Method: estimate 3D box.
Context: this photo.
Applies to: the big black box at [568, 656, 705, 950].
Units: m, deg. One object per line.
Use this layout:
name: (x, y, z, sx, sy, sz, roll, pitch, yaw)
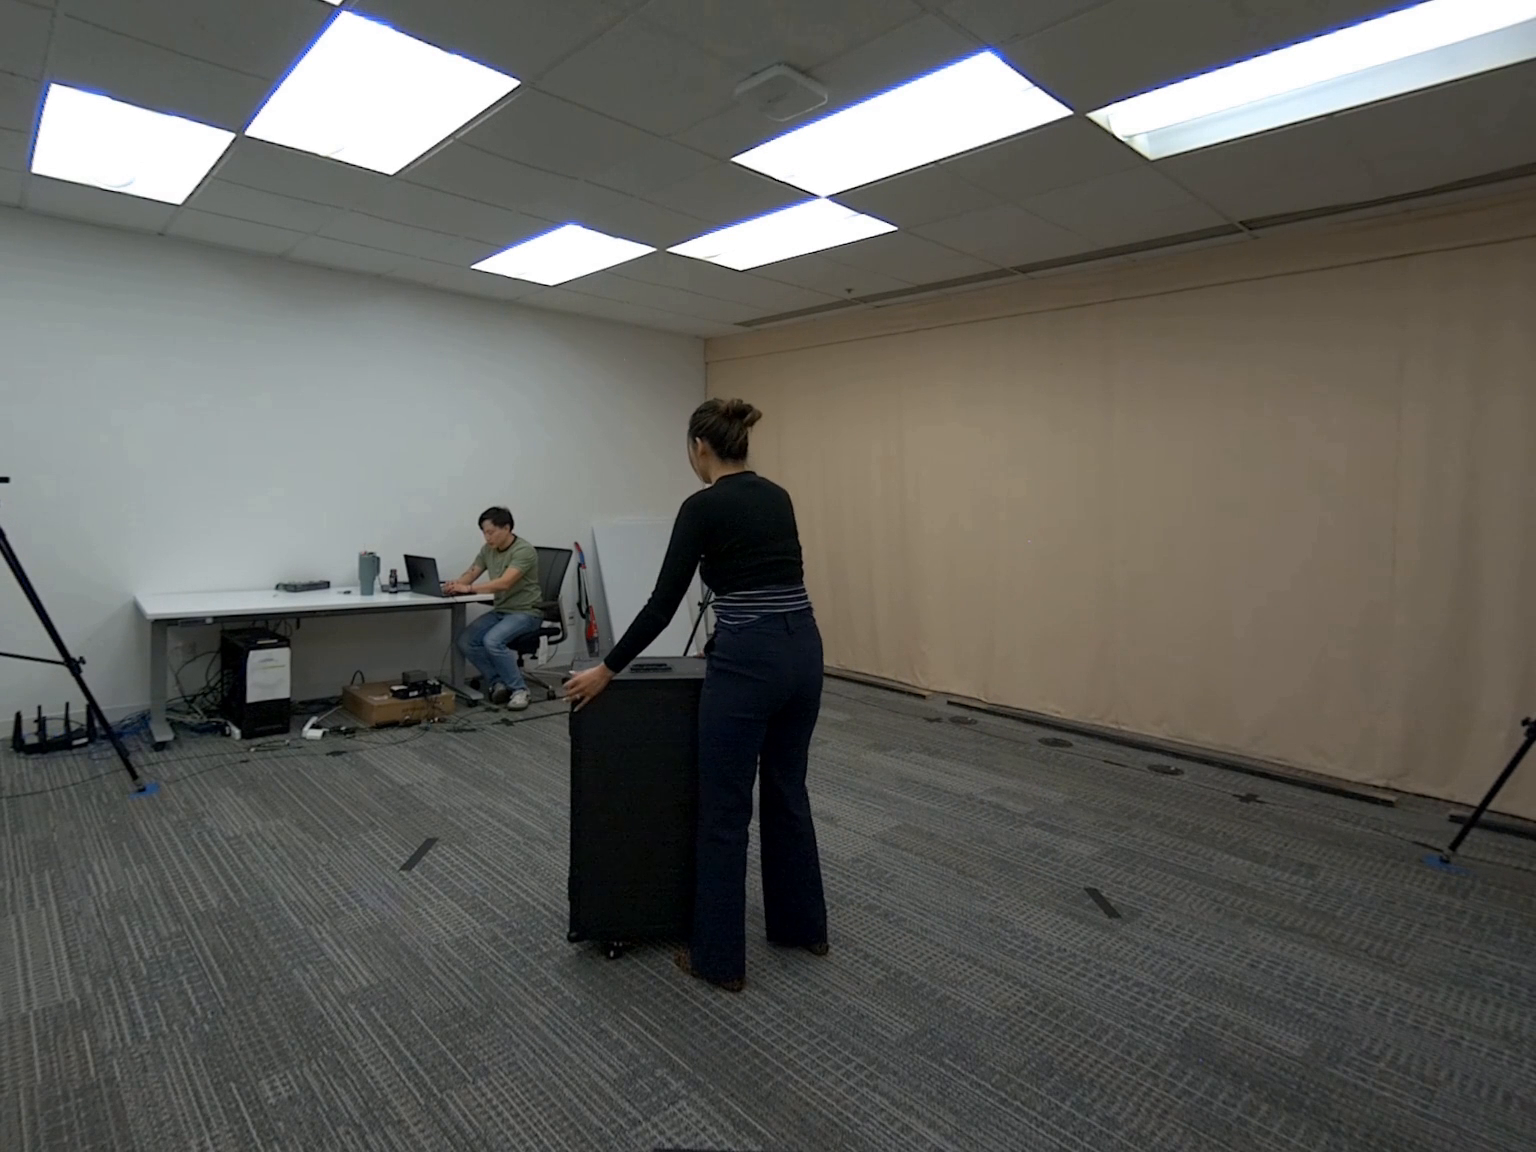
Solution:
big black box: (-0.388, 0.715, 2.674, 0.517, 0.860, 0.400, 1, 2, -11)
